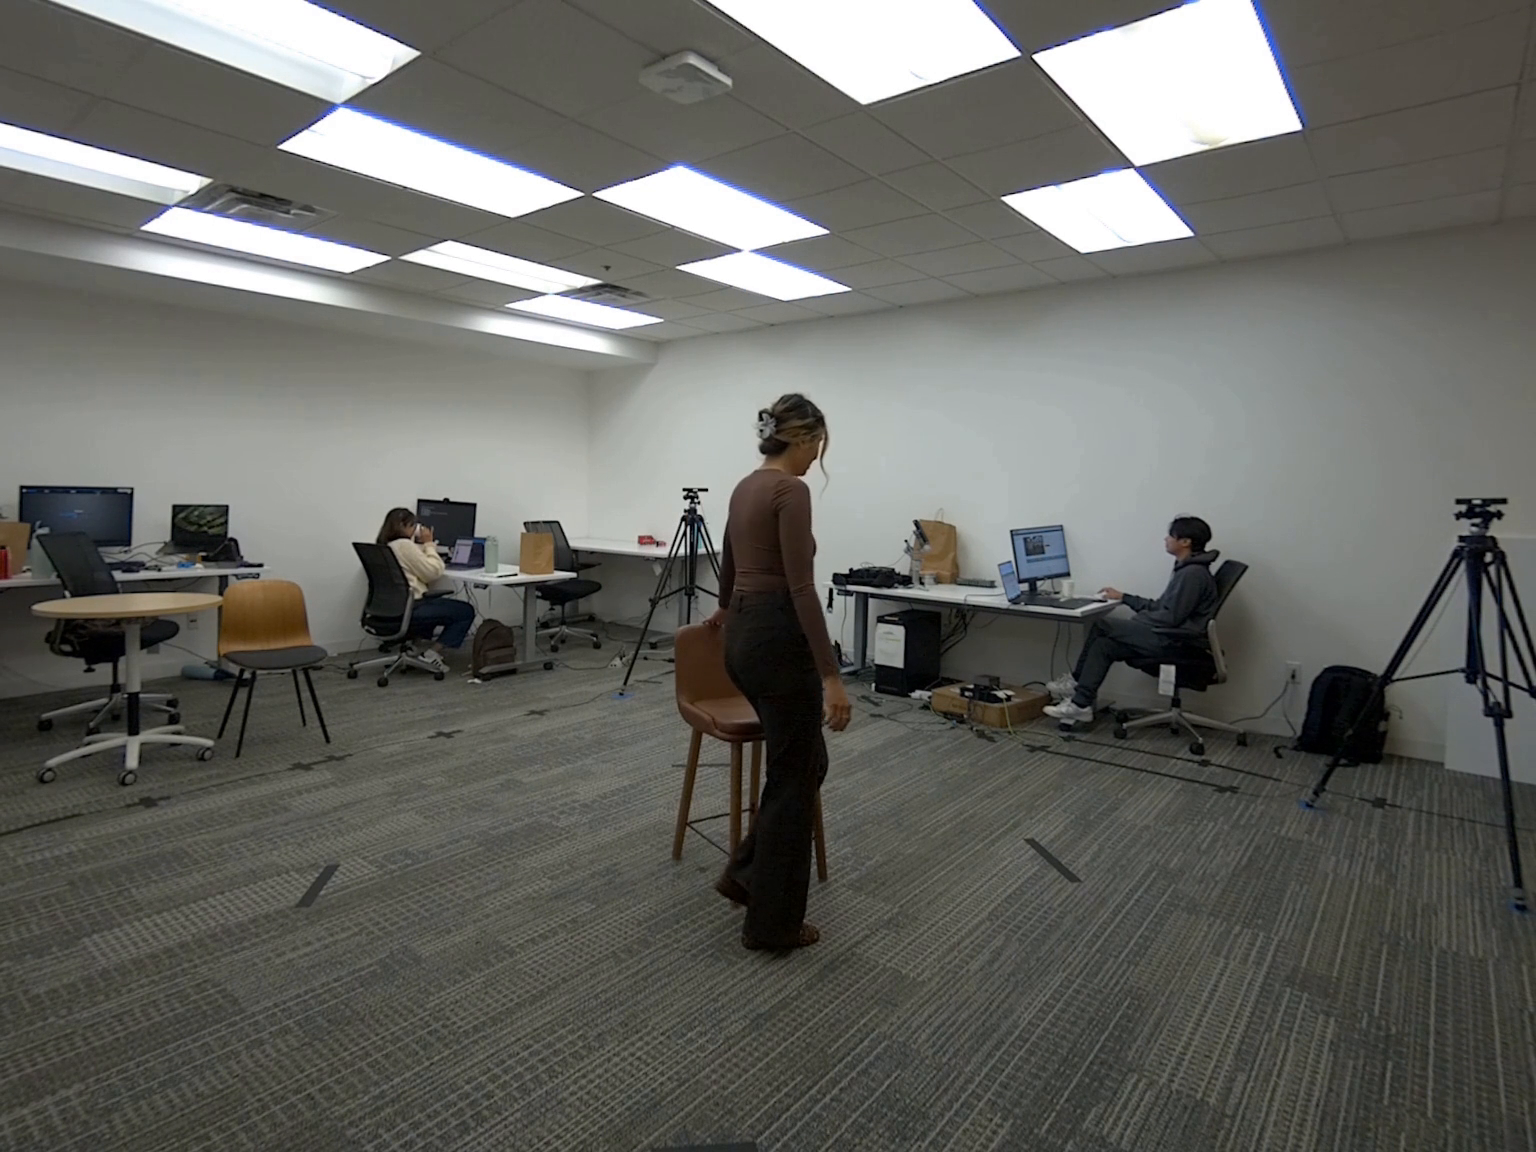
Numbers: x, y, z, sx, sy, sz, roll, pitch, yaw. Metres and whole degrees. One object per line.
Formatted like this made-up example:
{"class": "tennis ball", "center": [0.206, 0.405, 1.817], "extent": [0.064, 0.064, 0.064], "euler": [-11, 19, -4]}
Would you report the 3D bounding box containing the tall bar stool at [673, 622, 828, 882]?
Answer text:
{"class": "tall bar stool", "center": [-0.084, 0.635, 3.104], "extent": [0.443, 0.889, 0.482], "euler": [-1, 2, -35]}
